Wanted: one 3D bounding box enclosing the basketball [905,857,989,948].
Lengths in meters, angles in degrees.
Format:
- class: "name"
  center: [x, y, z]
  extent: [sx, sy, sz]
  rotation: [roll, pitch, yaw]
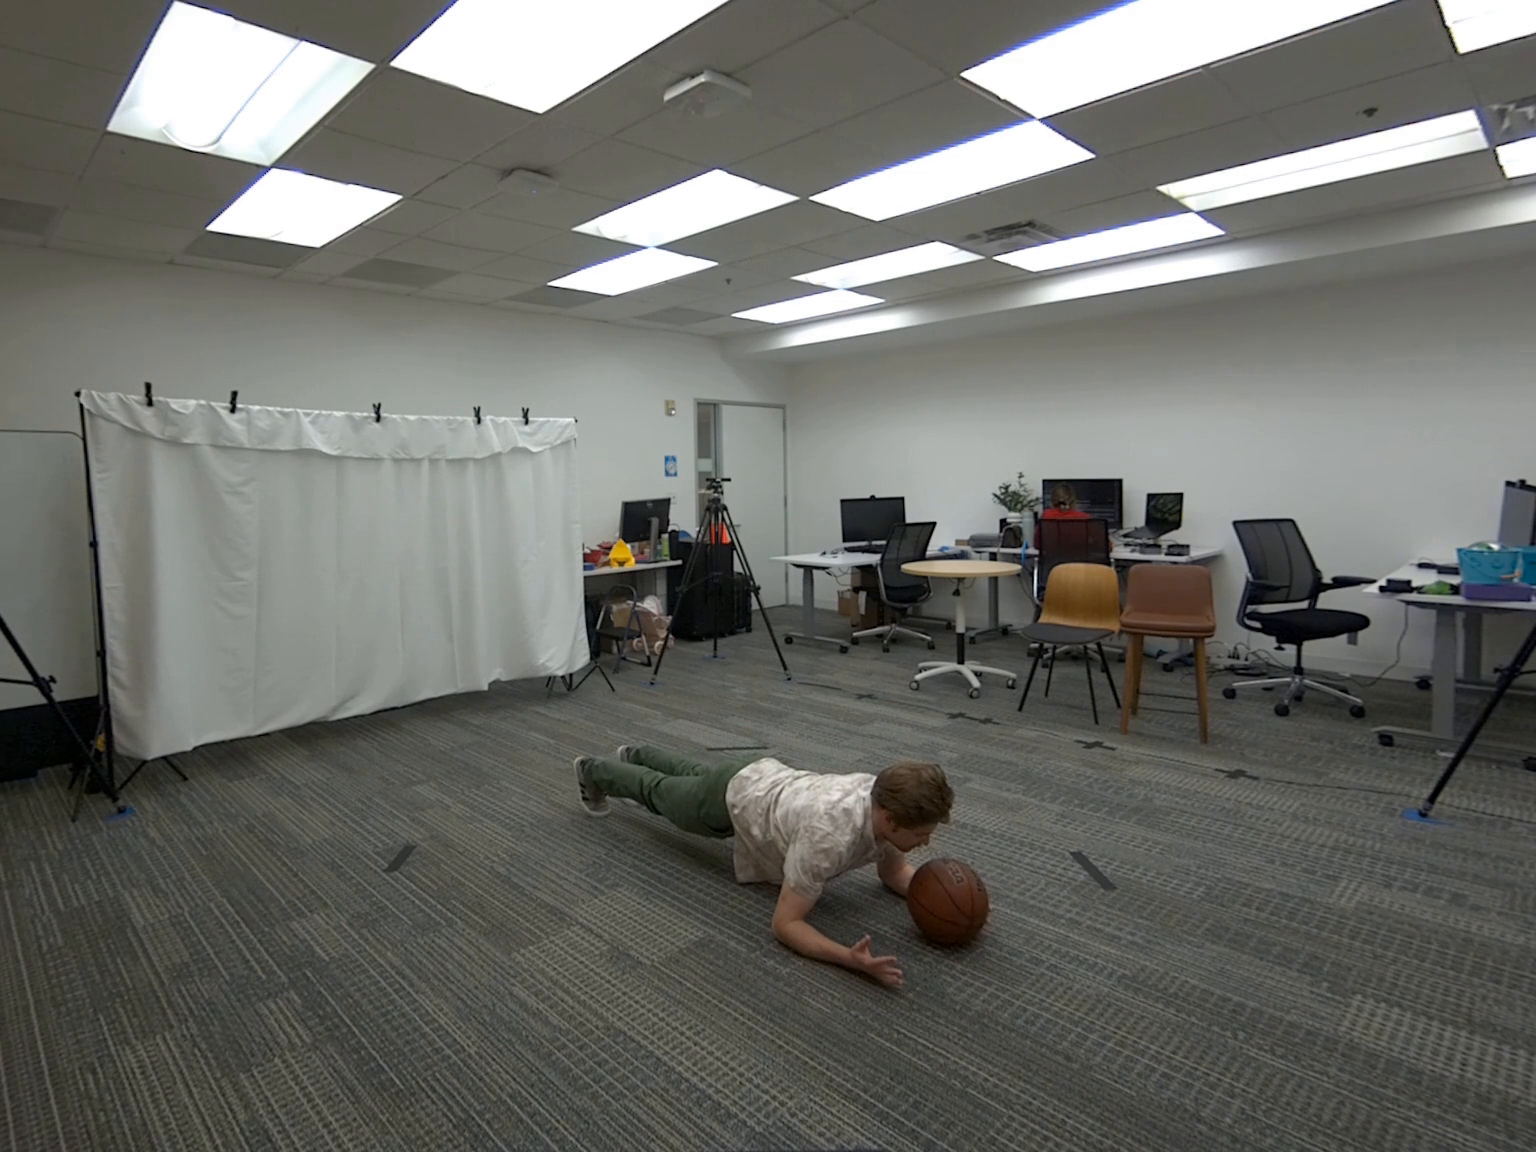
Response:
- class: "basketball"
  center: [0.539, 0.969, 2.563]
  extent: [0.236, 0.235, 0.237]
  rotation: [-1, 5, -2]
